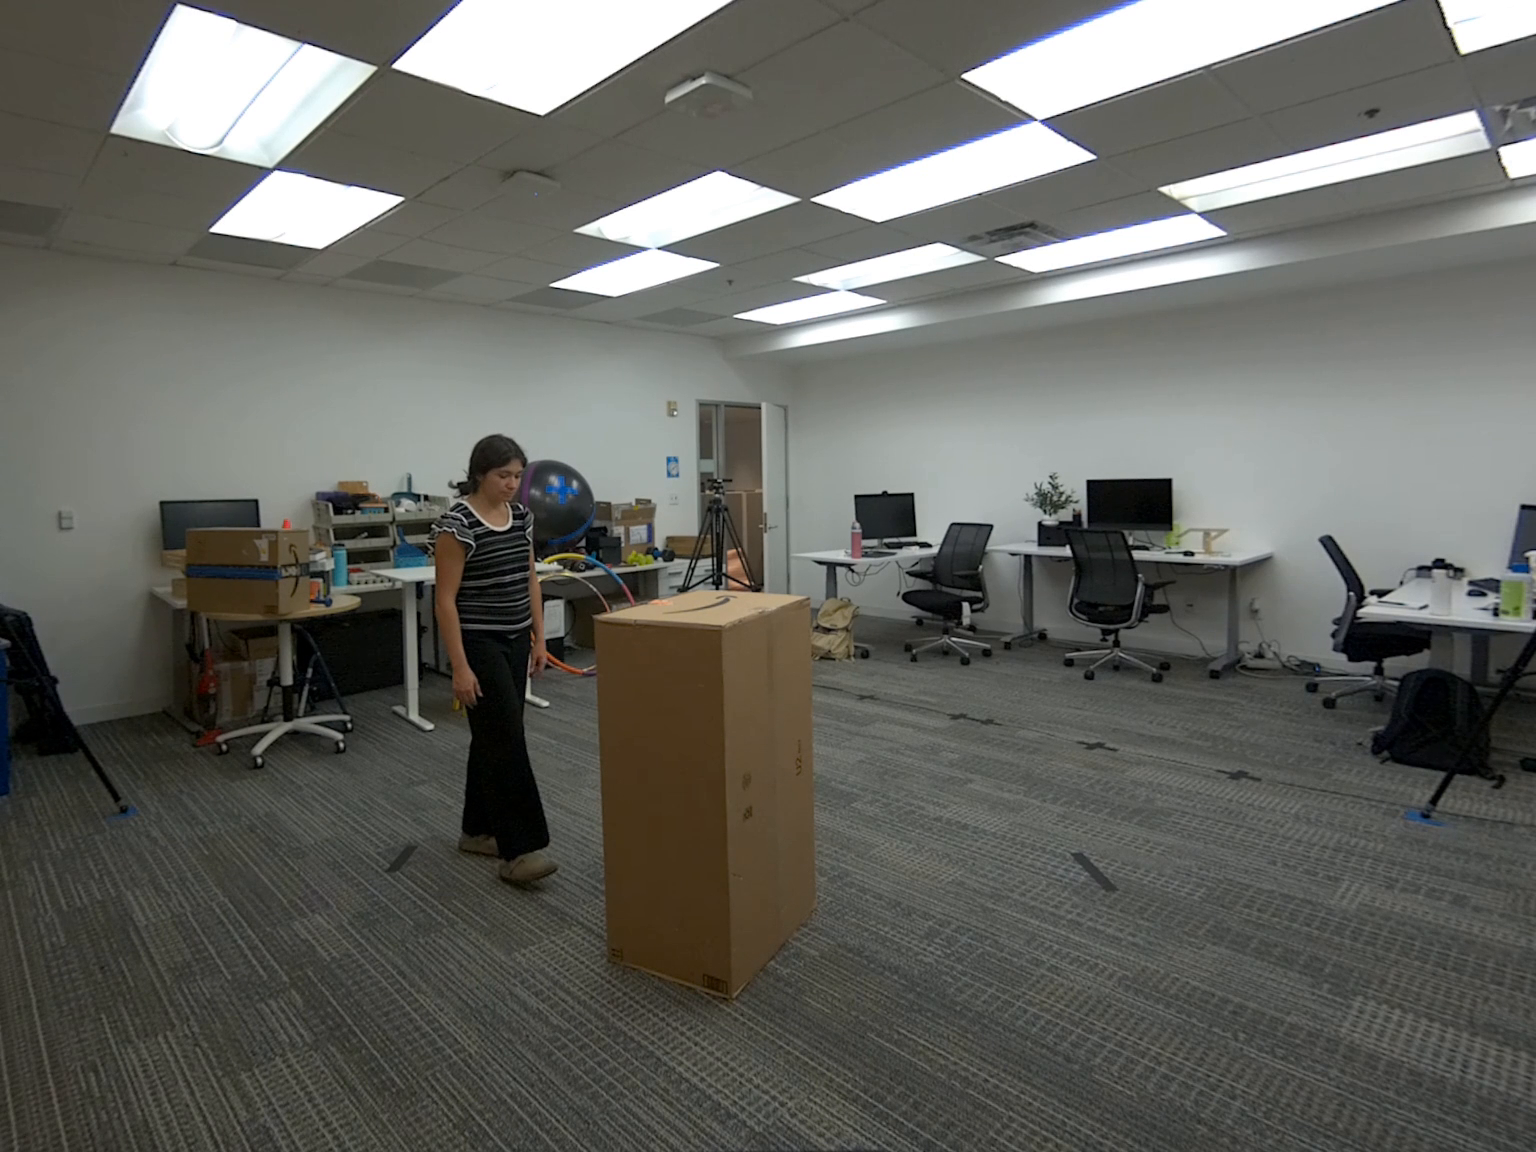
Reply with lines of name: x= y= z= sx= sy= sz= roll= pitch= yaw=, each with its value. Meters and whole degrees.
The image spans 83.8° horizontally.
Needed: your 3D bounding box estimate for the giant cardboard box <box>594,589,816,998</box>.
giant cardboard box: x=-0.170 y=0.597 z=2.597 sx=0.437 sy=1.022 sz=0.565 roll=1 pitch=5 yaw=29
